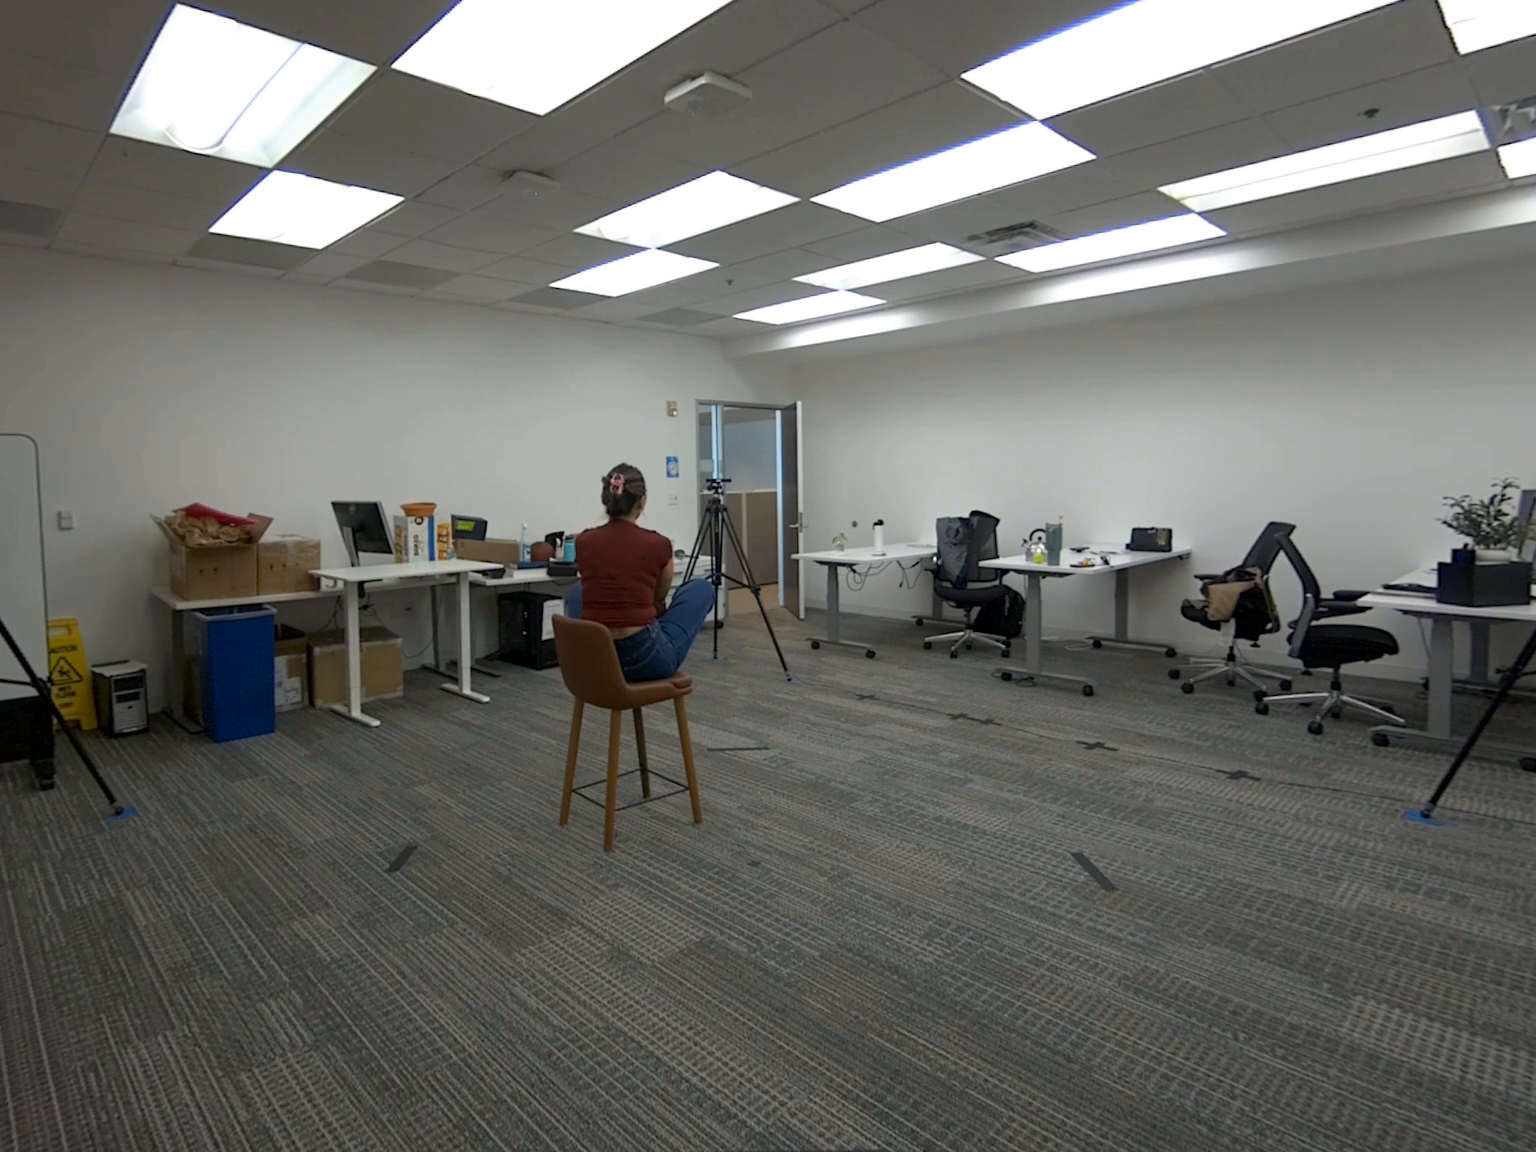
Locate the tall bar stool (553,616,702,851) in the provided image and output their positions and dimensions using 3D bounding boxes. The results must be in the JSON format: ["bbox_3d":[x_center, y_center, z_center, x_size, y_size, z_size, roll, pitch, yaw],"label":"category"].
[{"bbox_3d":[-0.588,0.580,3.476,0.456,0.886,0.470,-7,6,-40],"label":"tall bar stool"}]
